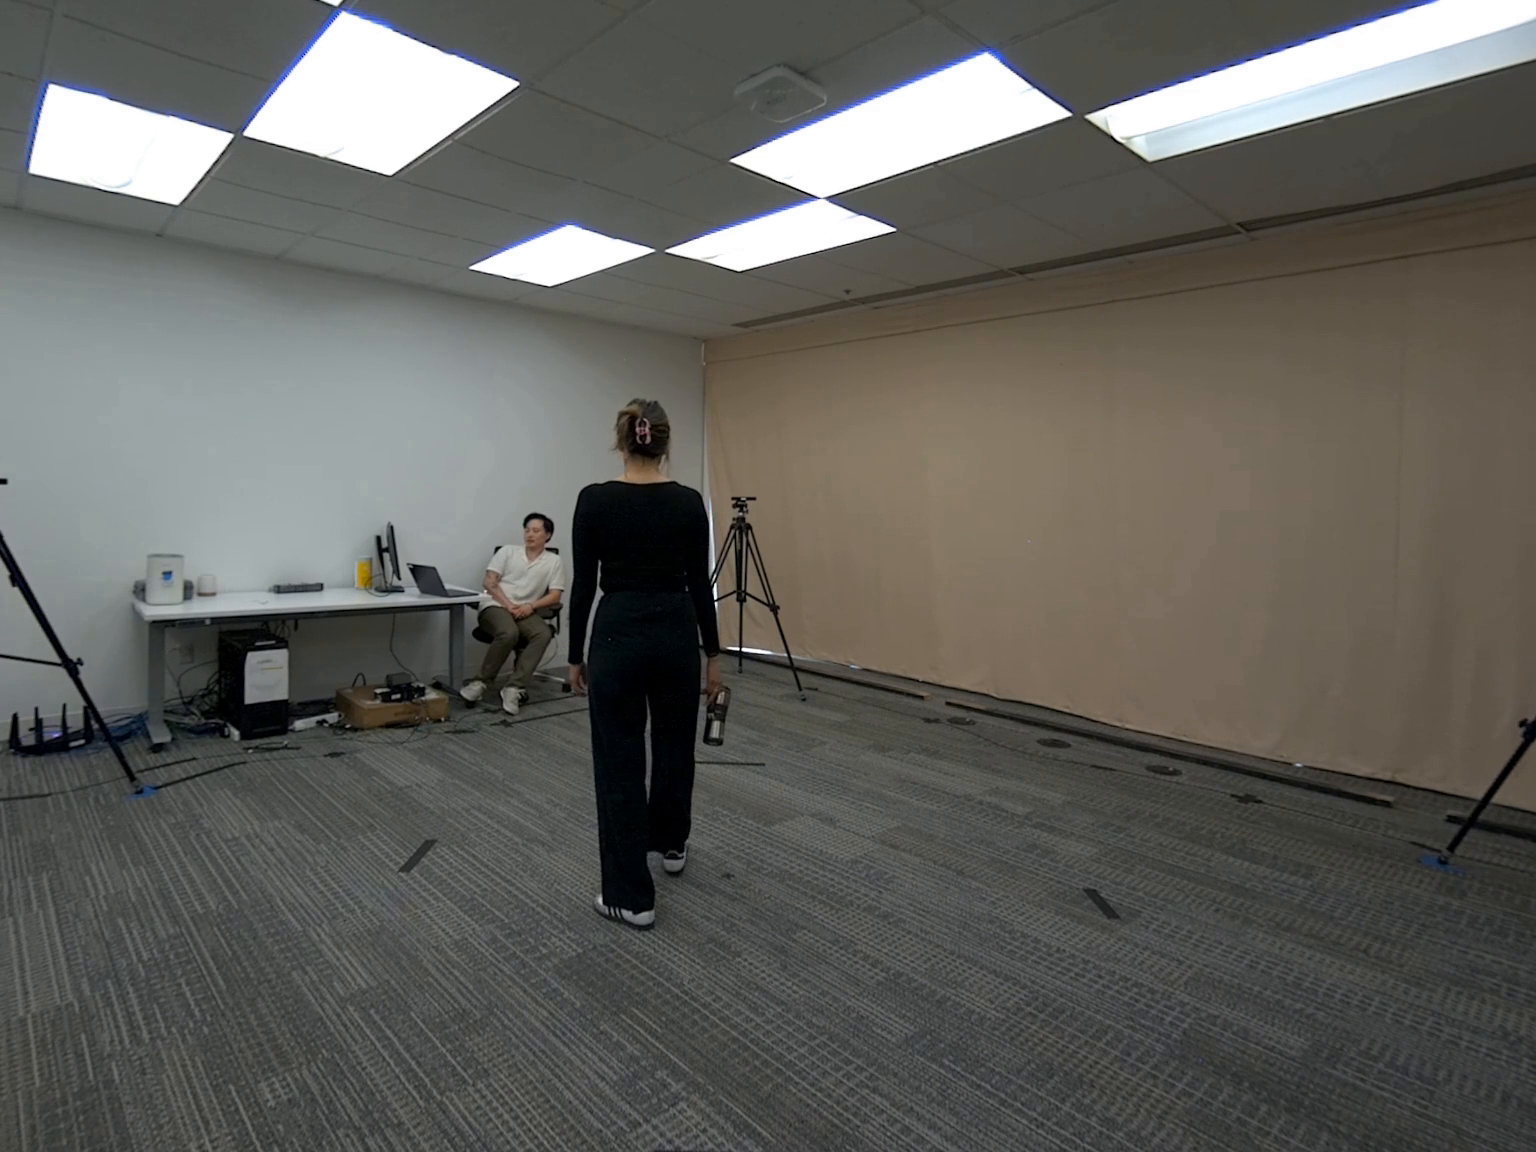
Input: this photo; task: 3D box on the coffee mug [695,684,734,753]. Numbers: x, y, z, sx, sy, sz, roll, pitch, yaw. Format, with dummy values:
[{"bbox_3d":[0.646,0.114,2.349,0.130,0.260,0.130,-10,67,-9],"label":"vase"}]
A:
[{"bbox_3d":[-0.213,0.499,2.966,0.119,0.206,0.089,25,-29,-31],"label":"coffee mug"}]
